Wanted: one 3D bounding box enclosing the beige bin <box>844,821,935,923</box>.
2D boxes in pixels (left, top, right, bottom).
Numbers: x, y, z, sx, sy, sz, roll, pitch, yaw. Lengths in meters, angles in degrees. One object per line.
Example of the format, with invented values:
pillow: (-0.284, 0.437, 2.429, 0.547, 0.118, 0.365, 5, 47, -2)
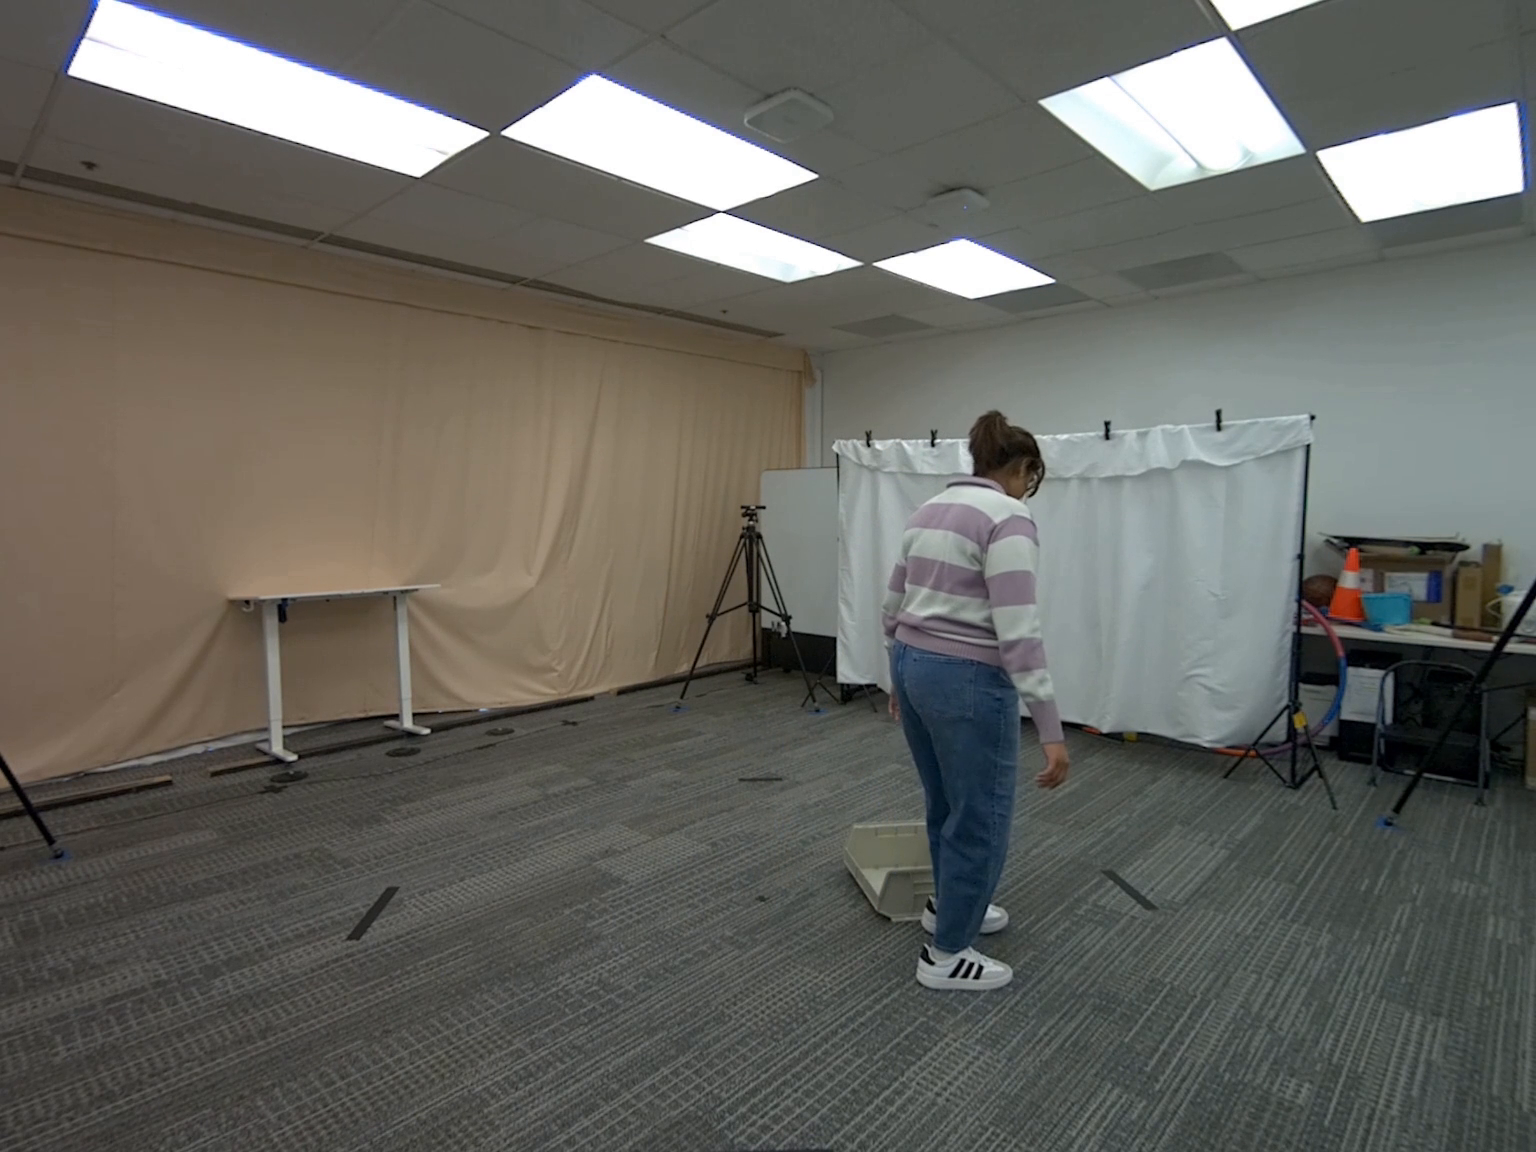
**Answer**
beige bin: (0.512, 1.051, 3.023, 0.374, 0.189, 0.427, 0, 3, -10)
